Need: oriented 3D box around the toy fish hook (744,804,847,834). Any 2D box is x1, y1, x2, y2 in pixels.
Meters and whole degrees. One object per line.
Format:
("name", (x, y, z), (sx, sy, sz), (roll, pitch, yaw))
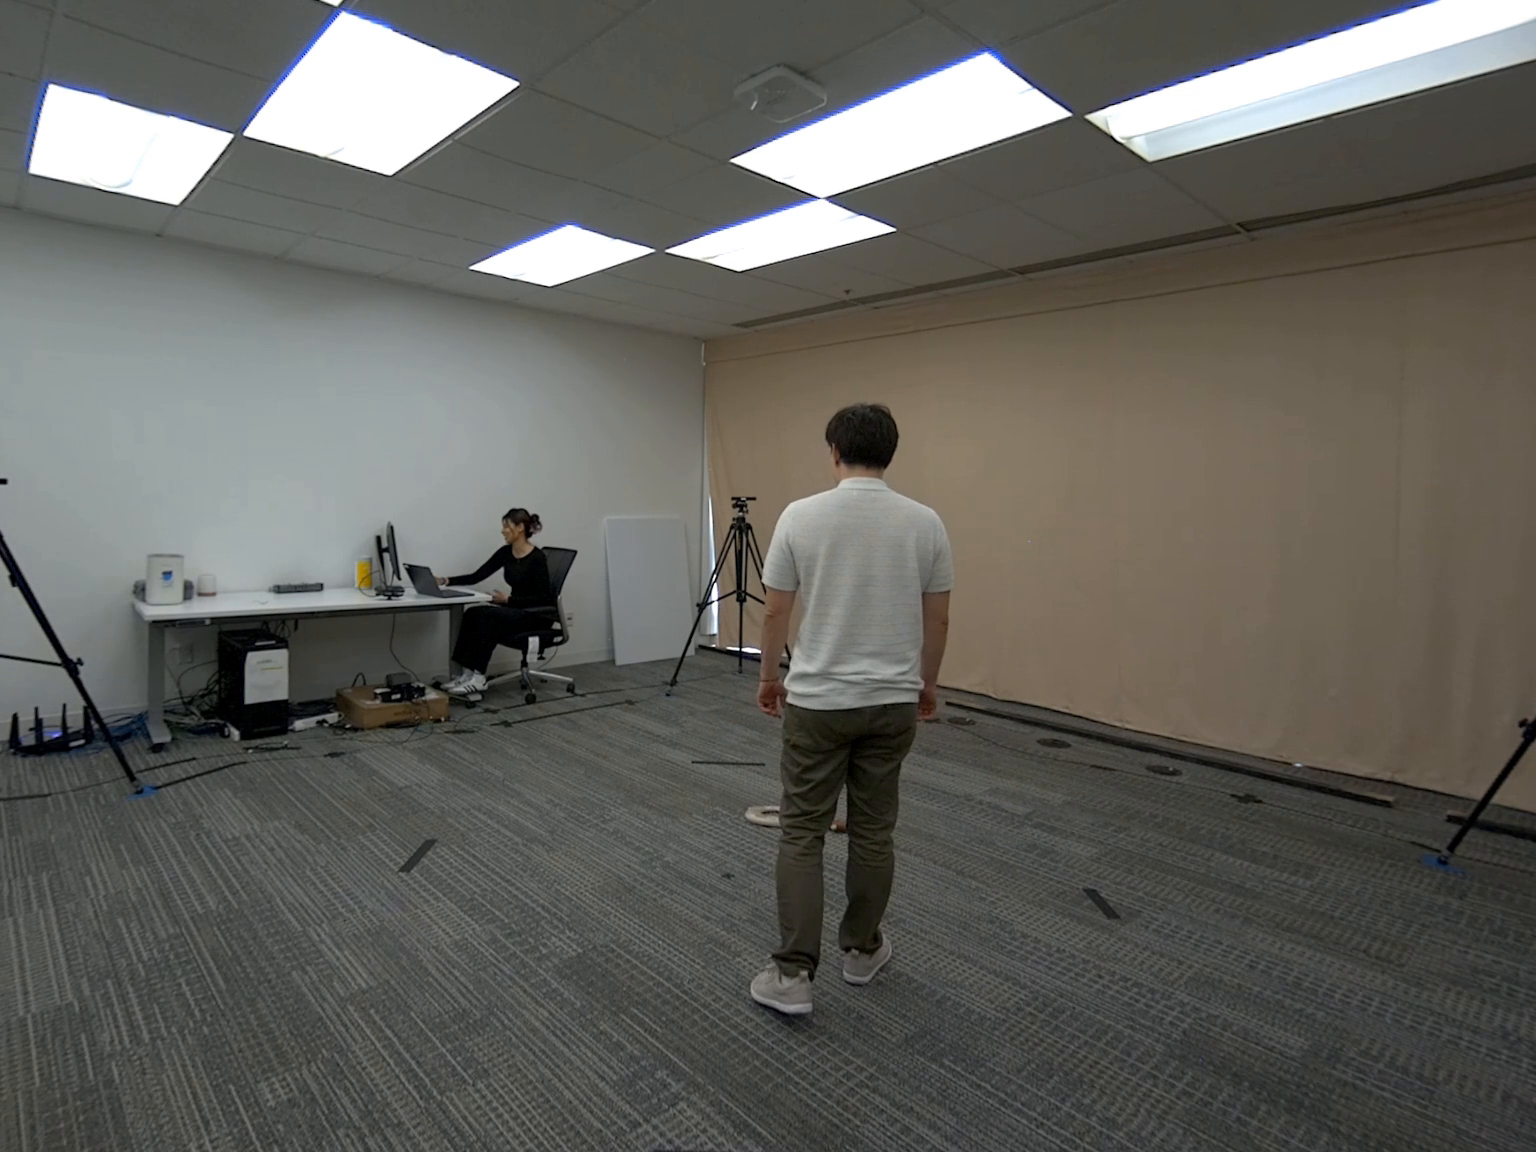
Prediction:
("toy fish hook", (0.148, 1.045, 3.645), (0.512, 0.048, 0.223), (3, 7, 14))
